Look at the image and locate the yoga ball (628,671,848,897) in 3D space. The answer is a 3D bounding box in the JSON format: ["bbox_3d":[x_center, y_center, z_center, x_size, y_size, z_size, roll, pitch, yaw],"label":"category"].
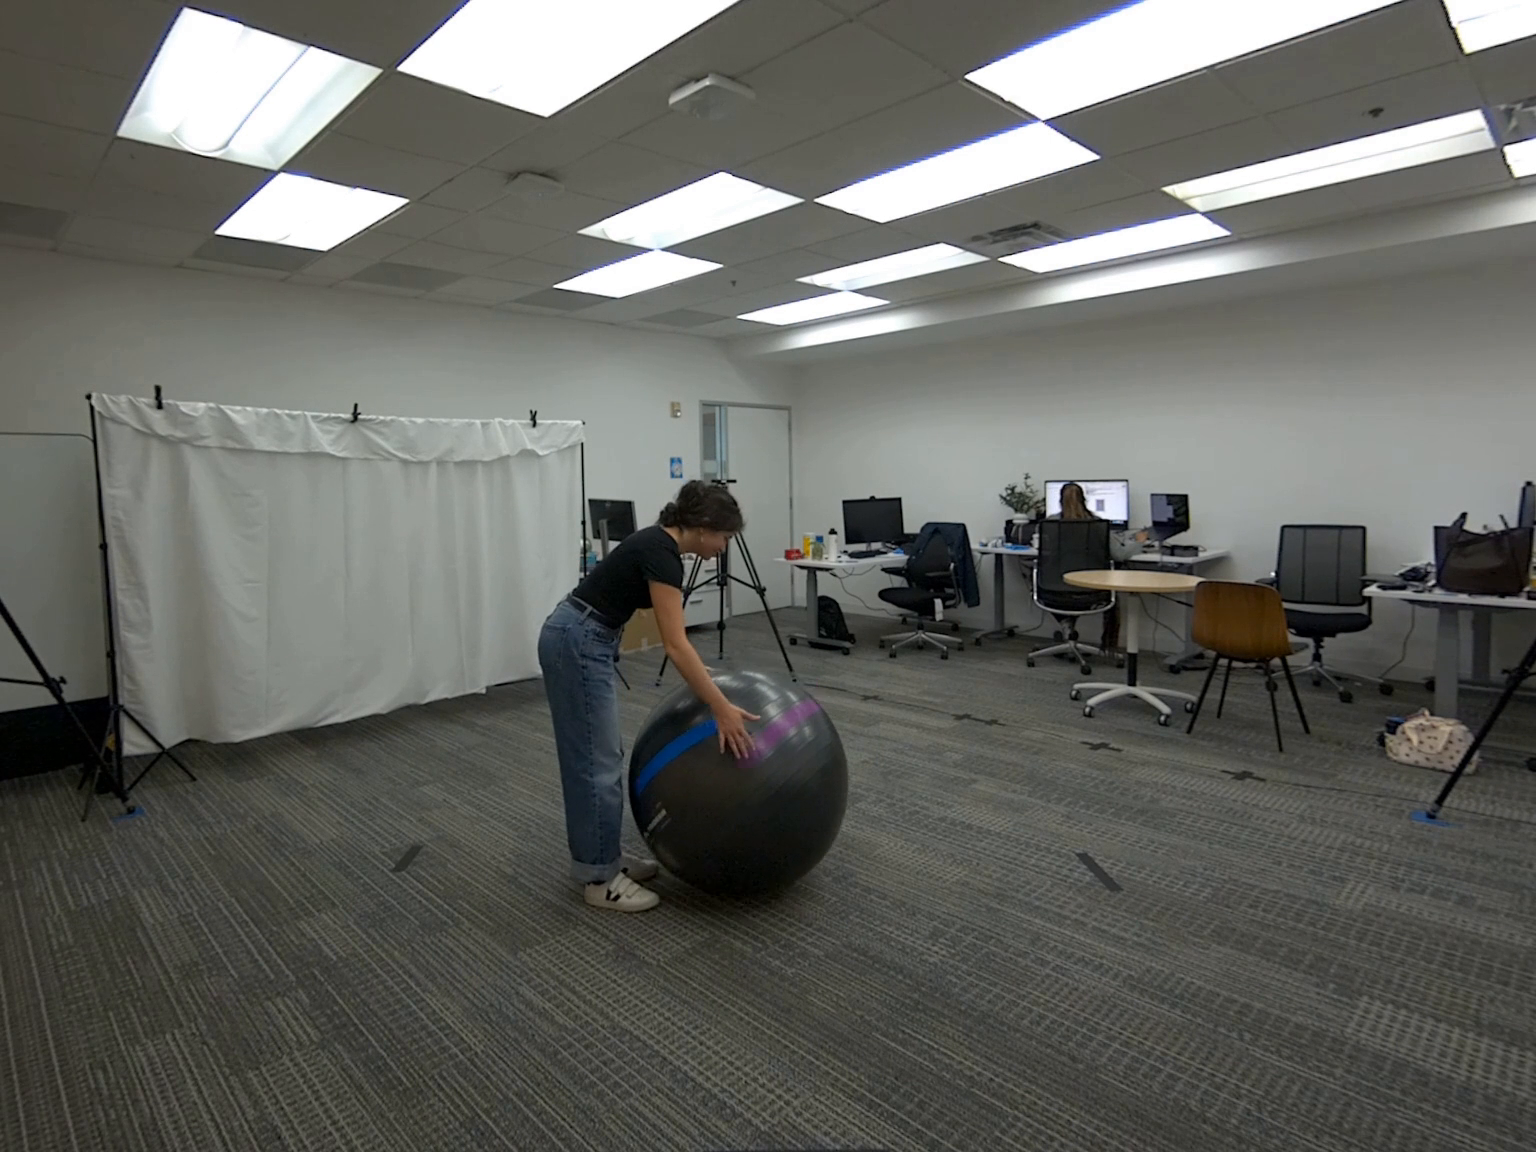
[{"bbox_3d":[-0.091,0.673,2.953,0.757,0.755,0.762,-1,5,-2],"label":"yoga ball"}]
